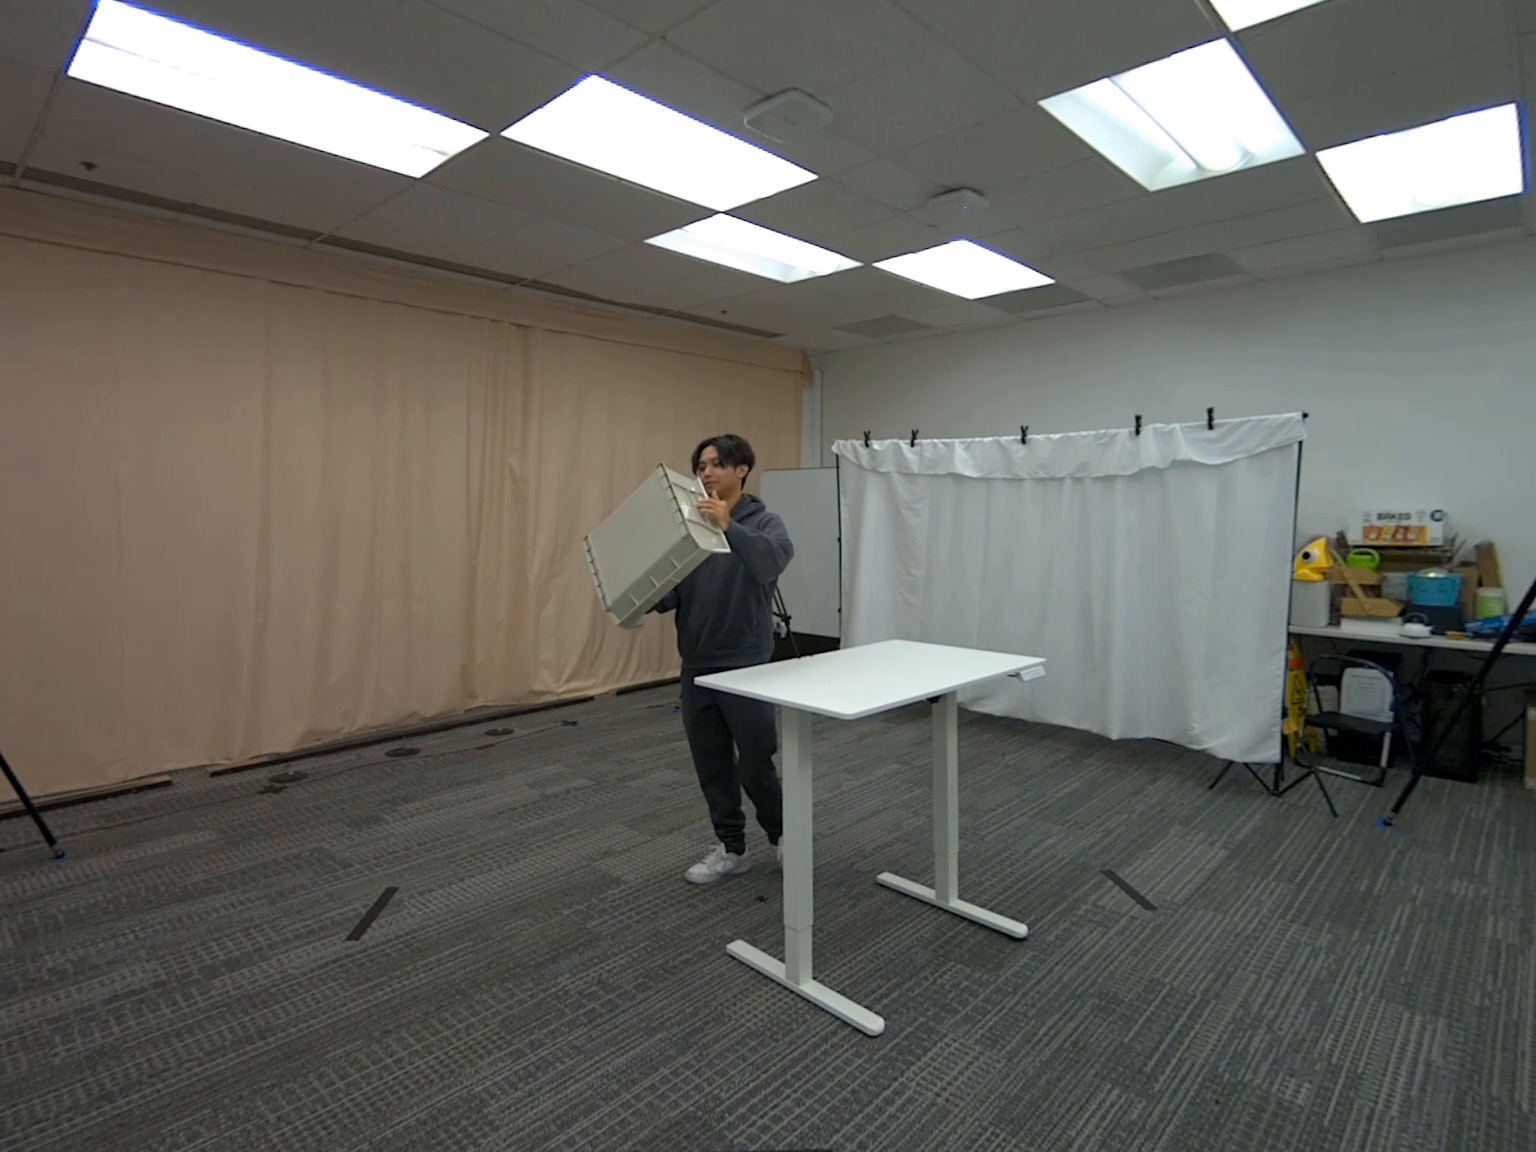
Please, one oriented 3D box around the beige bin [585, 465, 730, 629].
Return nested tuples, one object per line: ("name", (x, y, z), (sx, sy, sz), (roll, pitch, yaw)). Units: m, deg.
("beige bin", (-0.361, -0.086, 2.737), (0.426, 0.388, 0.182), (-42, -38, 22))
